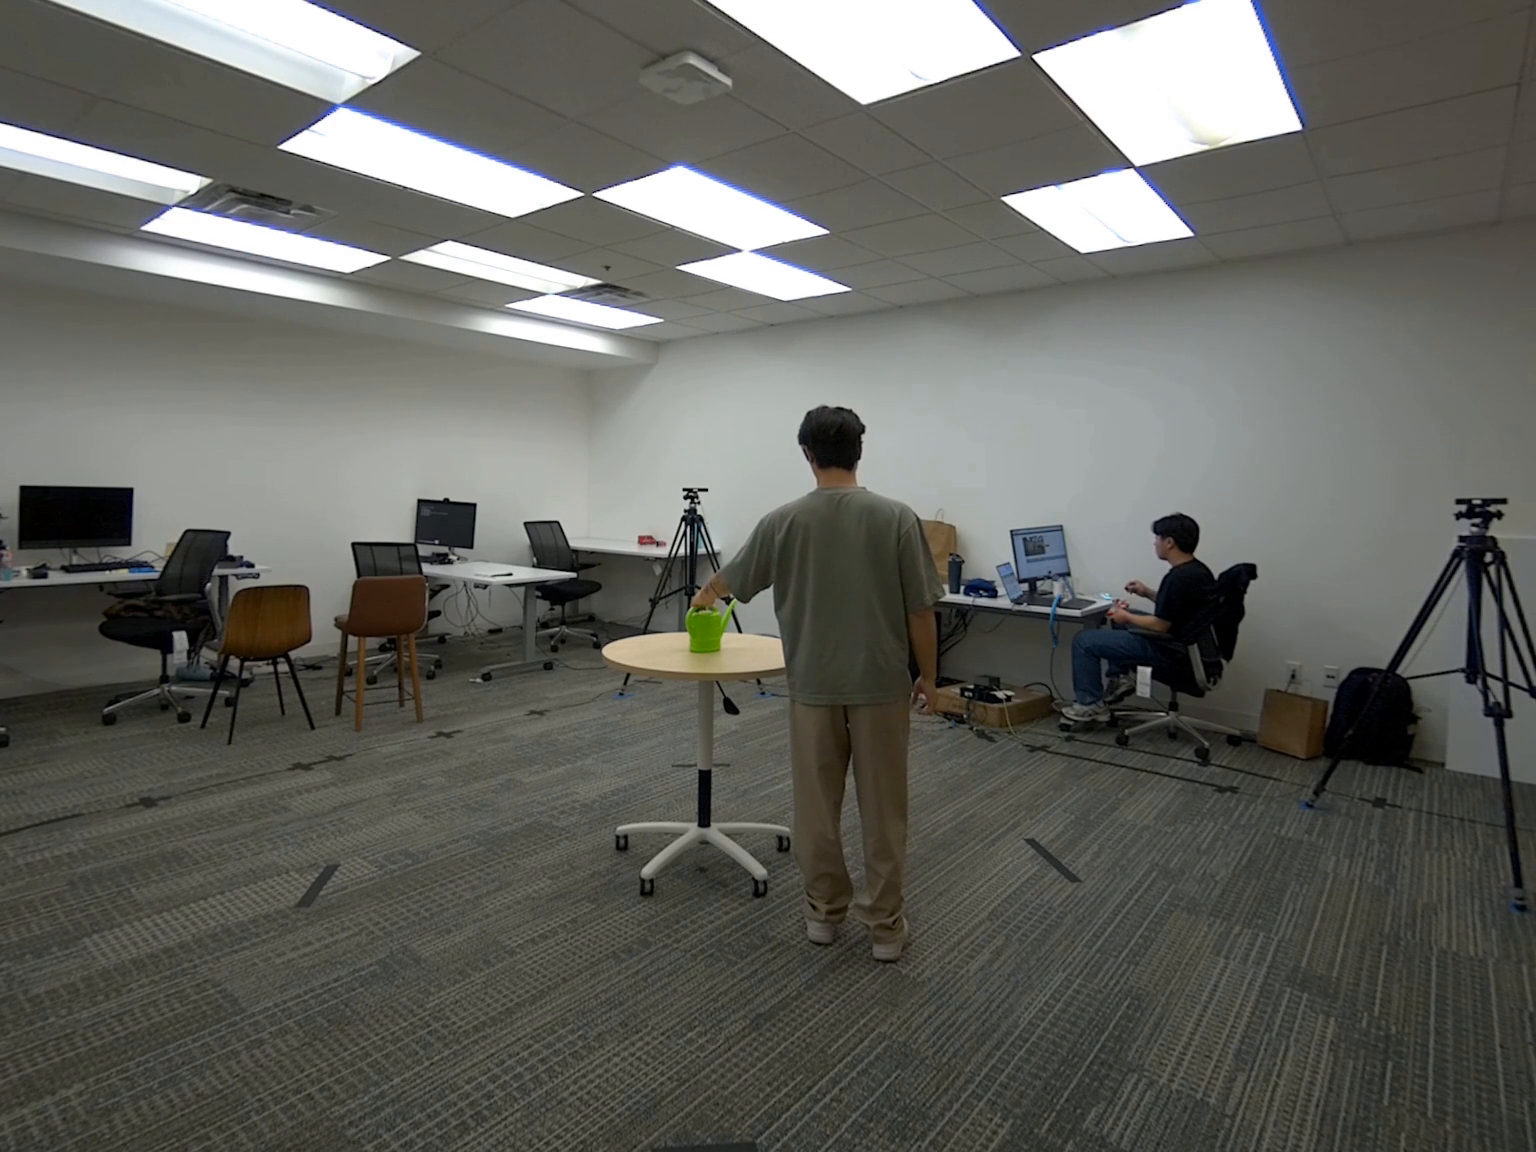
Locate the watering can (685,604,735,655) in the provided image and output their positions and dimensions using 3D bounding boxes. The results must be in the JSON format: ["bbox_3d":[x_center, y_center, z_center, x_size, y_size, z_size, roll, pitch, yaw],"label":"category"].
[{"bbox_3d":[-0.203,0.180,3.146,0.271,0.176,0.101,-4,6,-33],"label":"watering can"}]
